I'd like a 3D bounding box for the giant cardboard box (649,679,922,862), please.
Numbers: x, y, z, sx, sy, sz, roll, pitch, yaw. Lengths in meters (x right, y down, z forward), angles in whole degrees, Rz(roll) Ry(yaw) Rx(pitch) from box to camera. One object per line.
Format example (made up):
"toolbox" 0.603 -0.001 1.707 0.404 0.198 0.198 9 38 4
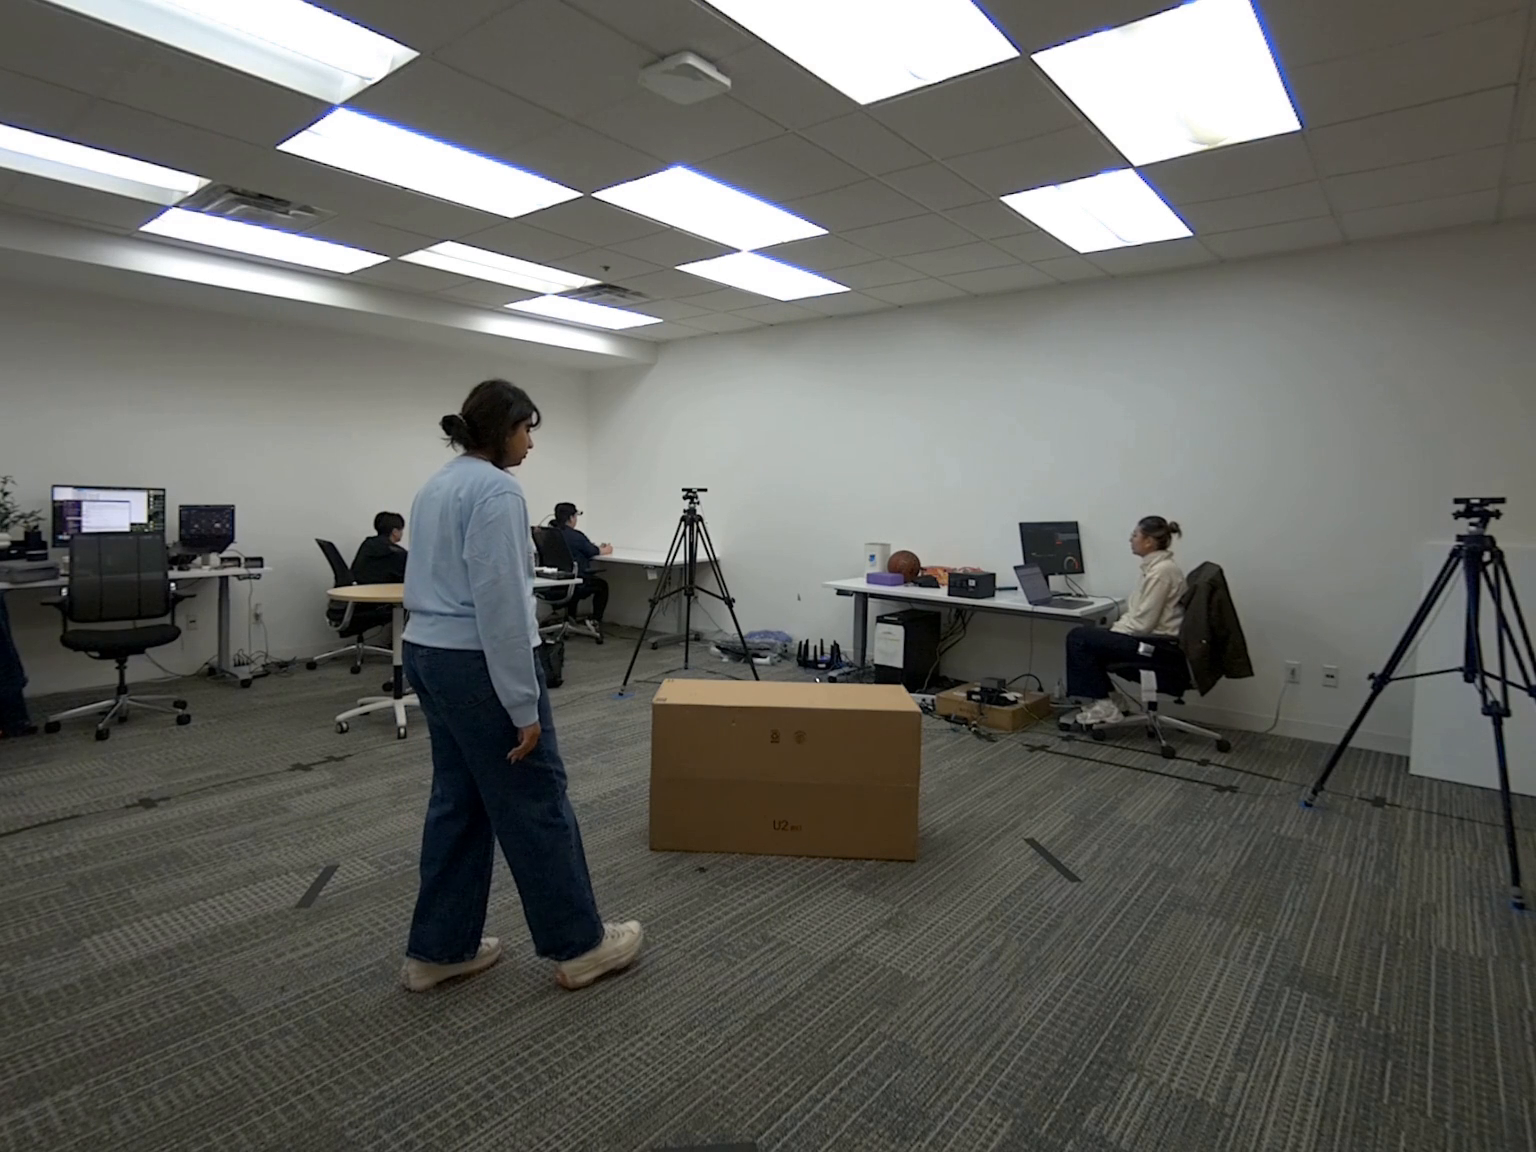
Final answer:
"giant cardboard box" 0.052 0.750 3.430 1.029 0.576 0.426 1 3 3
